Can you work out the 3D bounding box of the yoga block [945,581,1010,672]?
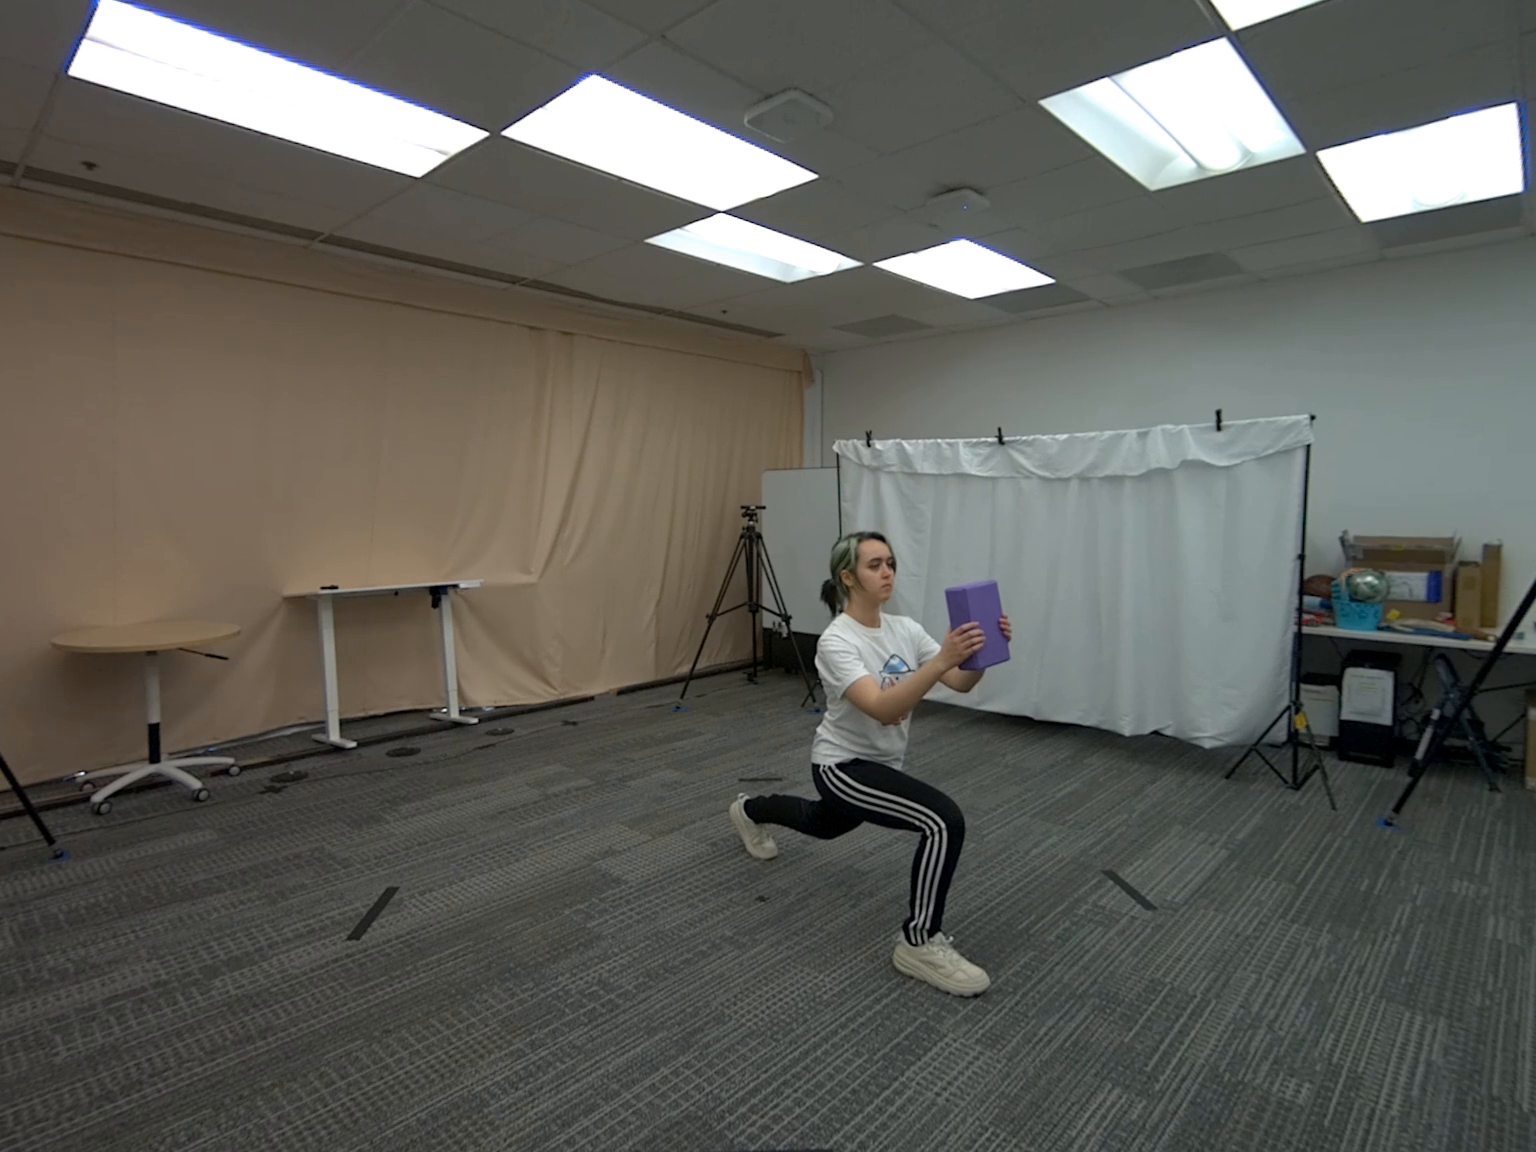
[{"bbox_3d":[0.593,0.140,2.331,0.145,0.229,0.078,-10,3,-33],"label":"yoga block"}]
